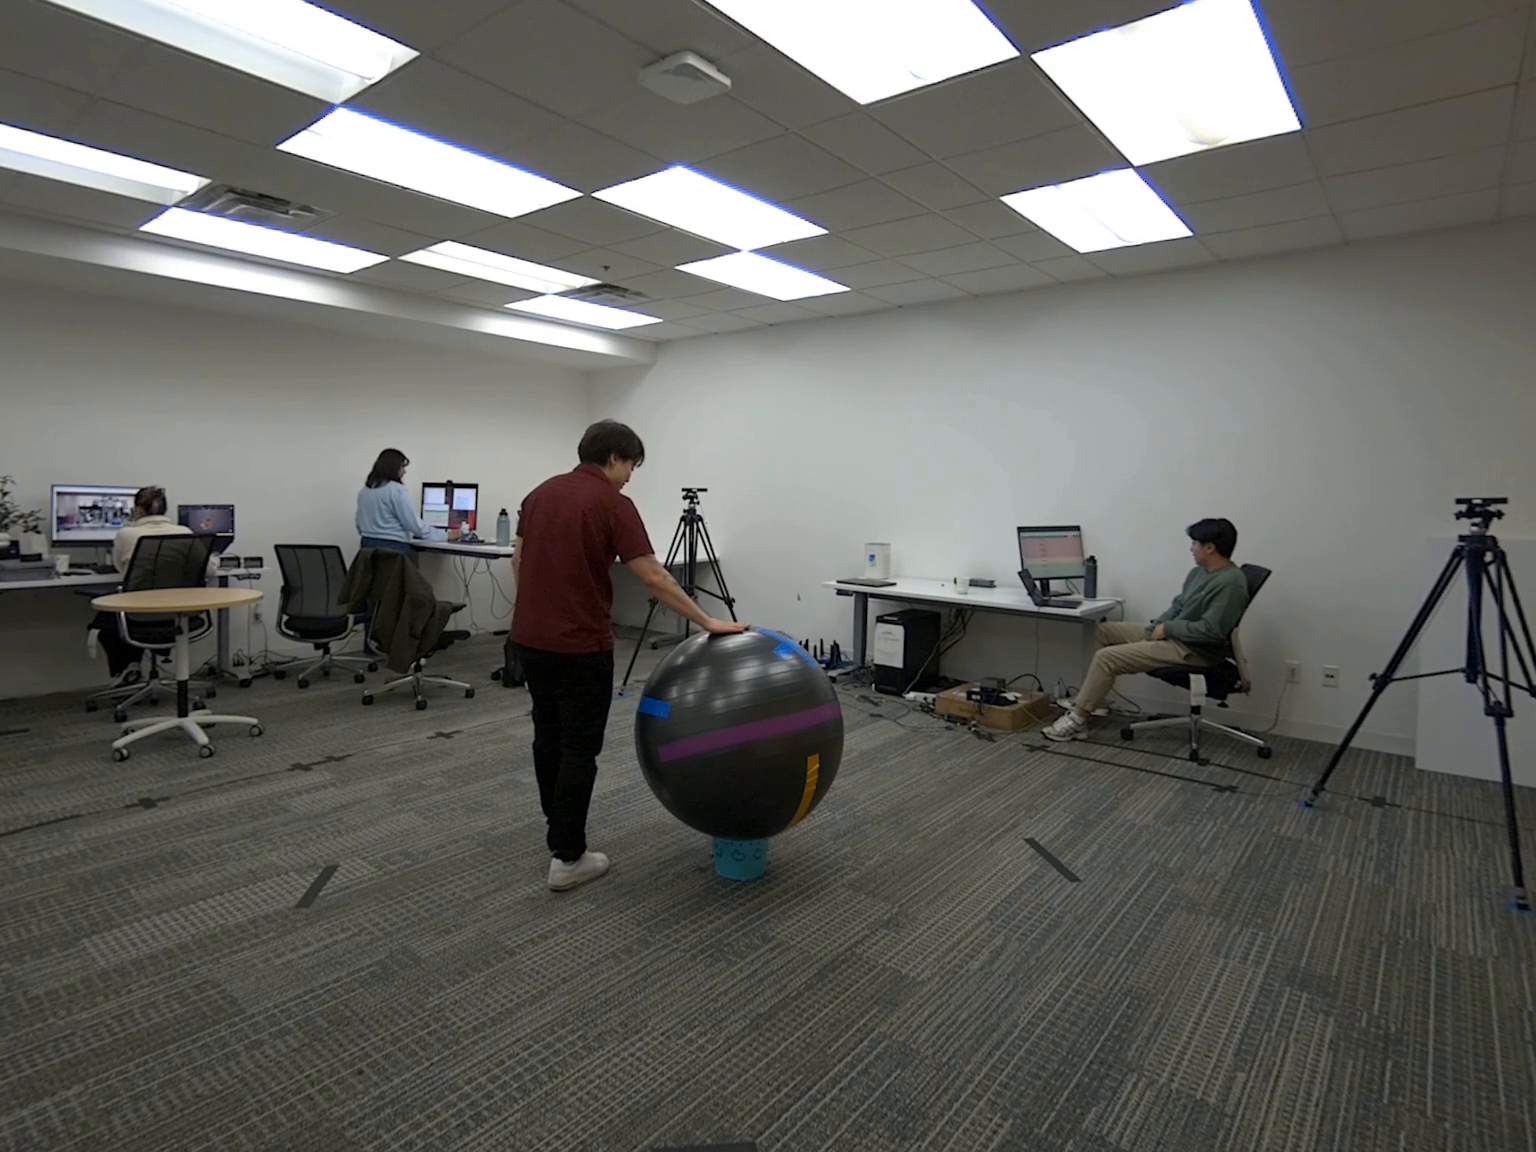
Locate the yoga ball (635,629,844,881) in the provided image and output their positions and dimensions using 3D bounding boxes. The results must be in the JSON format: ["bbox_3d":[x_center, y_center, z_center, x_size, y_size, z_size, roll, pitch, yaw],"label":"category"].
[{"bbox_3d":[-0.118,0.564,3.101,0.757,0.755,0.762,1,4,-2],"label":"yoga ball"}]
